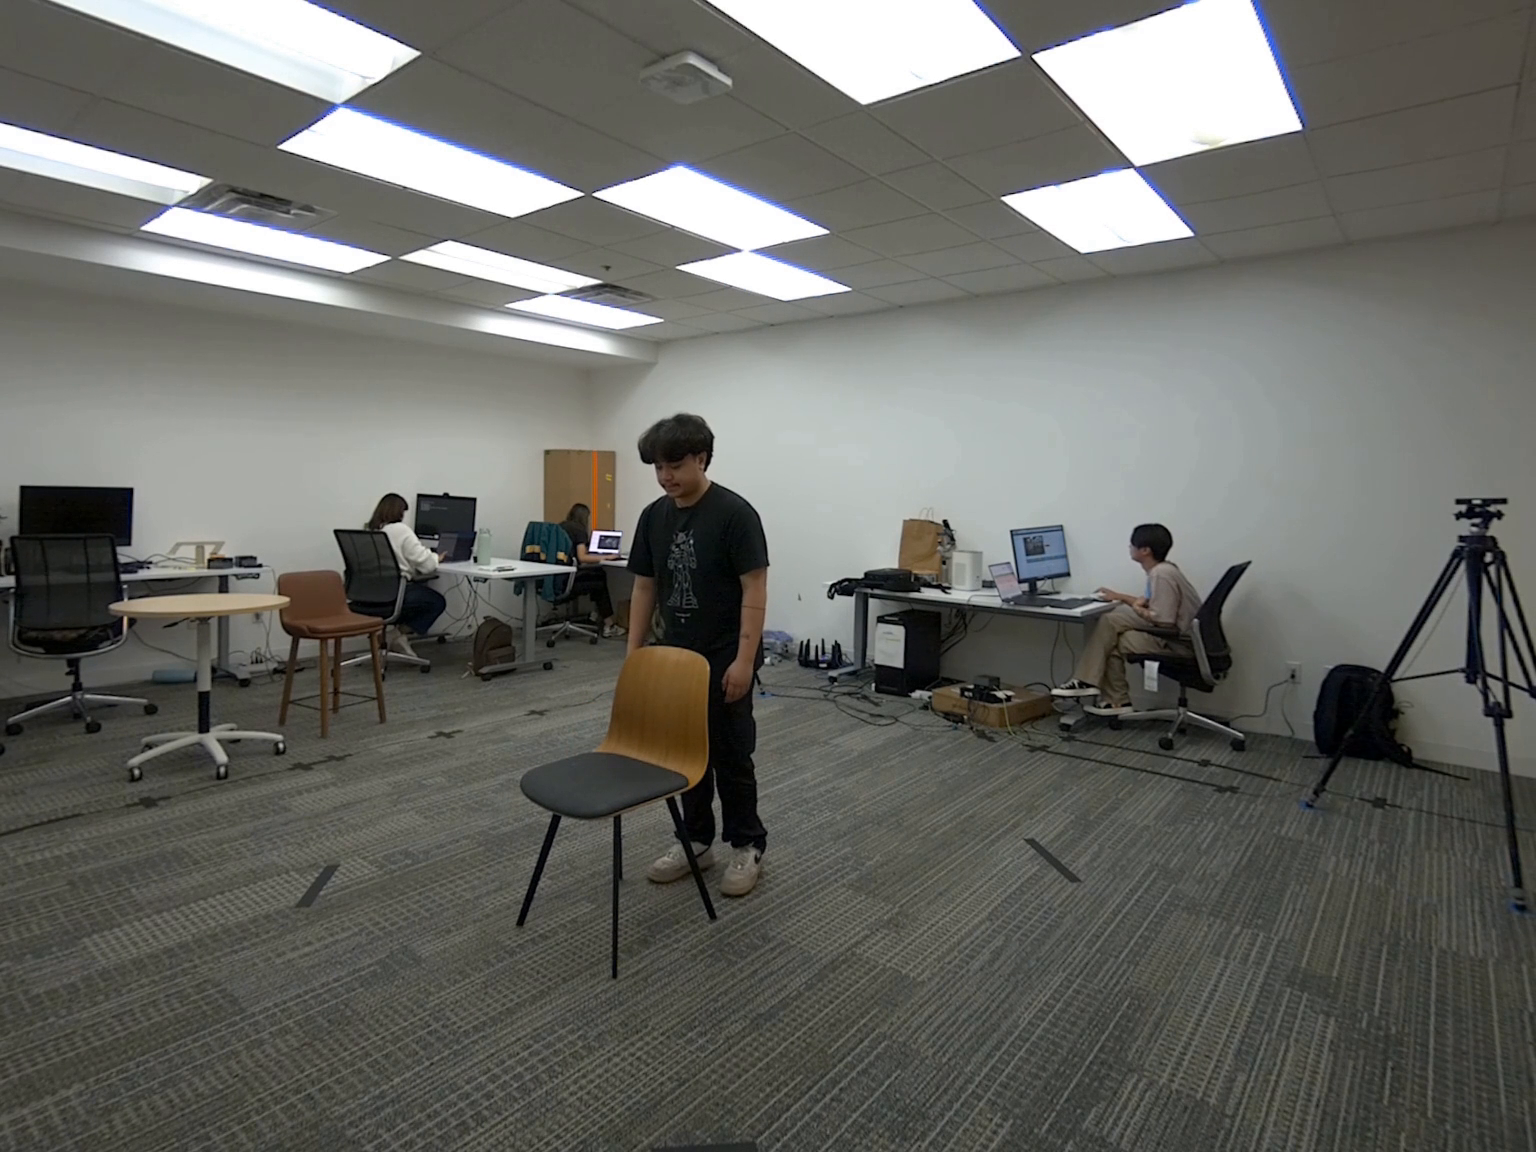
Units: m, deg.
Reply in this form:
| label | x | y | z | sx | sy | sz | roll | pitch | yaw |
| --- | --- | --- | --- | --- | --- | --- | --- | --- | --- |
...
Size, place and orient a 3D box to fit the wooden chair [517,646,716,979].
| label | x | y | z | sx | sy | sz | roll | pitch | yaw |
| --- | --- | --- | --- | --- | --- | --- | --- | --- | --- |
| wooden chair | -0.481 | 0.680 | 2.678 | 0.494 | 0.878 | 0.506 | 4 | 0 | 38 |
